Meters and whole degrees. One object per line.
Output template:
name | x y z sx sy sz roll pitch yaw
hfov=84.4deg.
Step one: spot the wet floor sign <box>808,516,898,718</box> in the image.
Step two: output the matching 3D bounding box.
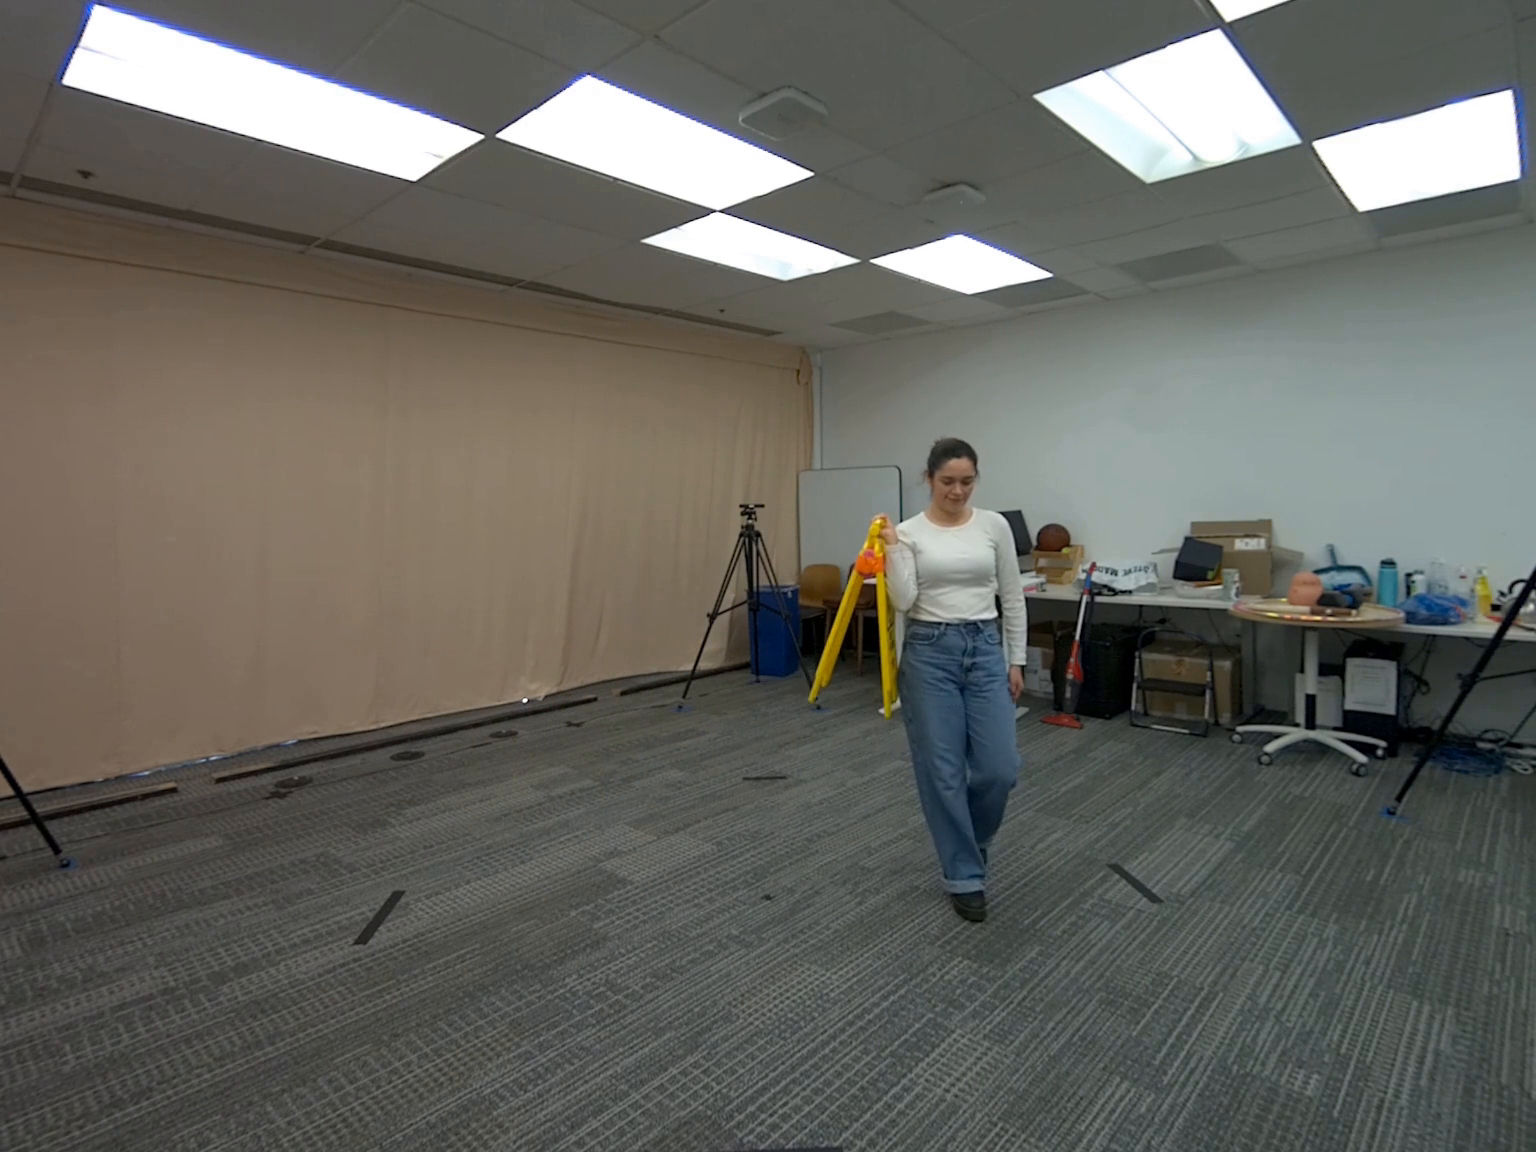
wet floor sign | 0.354 0.125 2.926 0.295 0.643 0.278 9 9 15
